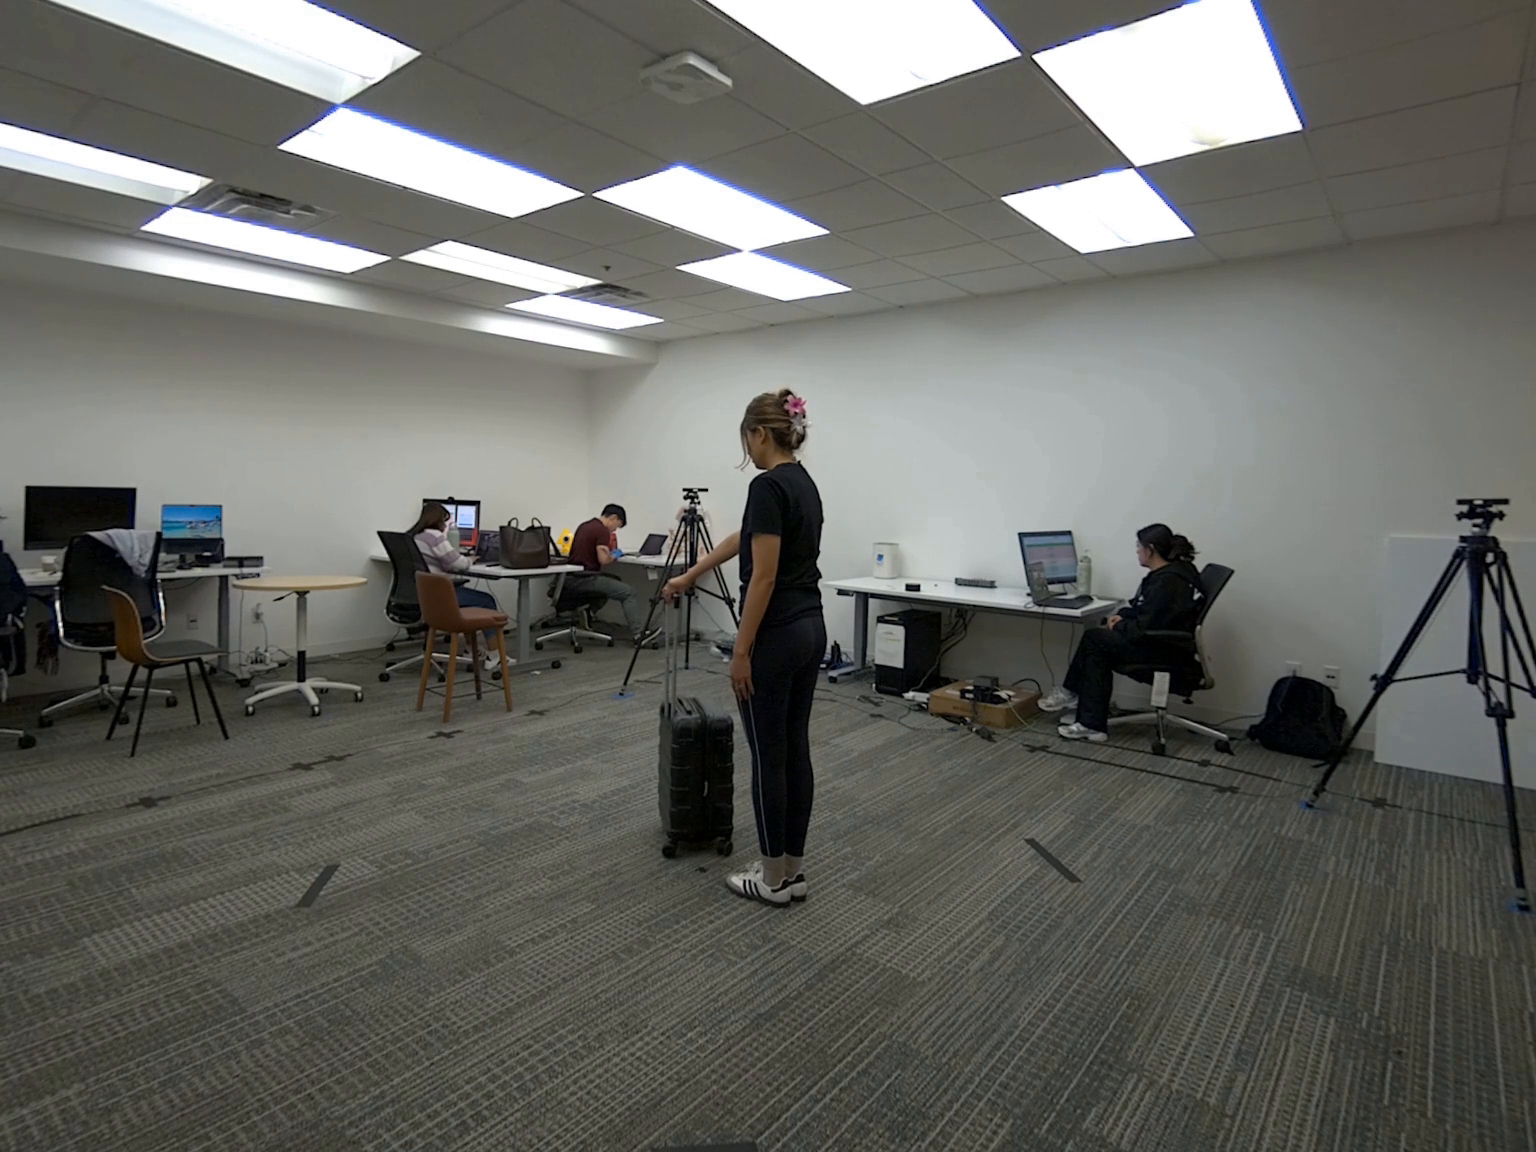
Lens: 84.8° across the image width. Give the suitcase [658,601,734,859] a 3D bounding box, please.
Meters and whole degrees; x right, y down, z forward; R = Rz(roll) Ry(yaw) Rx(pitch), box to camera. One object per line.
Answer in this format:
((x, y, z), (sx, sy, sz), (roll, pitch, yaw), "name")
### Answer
((-0.299, 0.570, 3.359), (0.254, 0.976, 0.390), (0, 3, -13), "suitcase")
